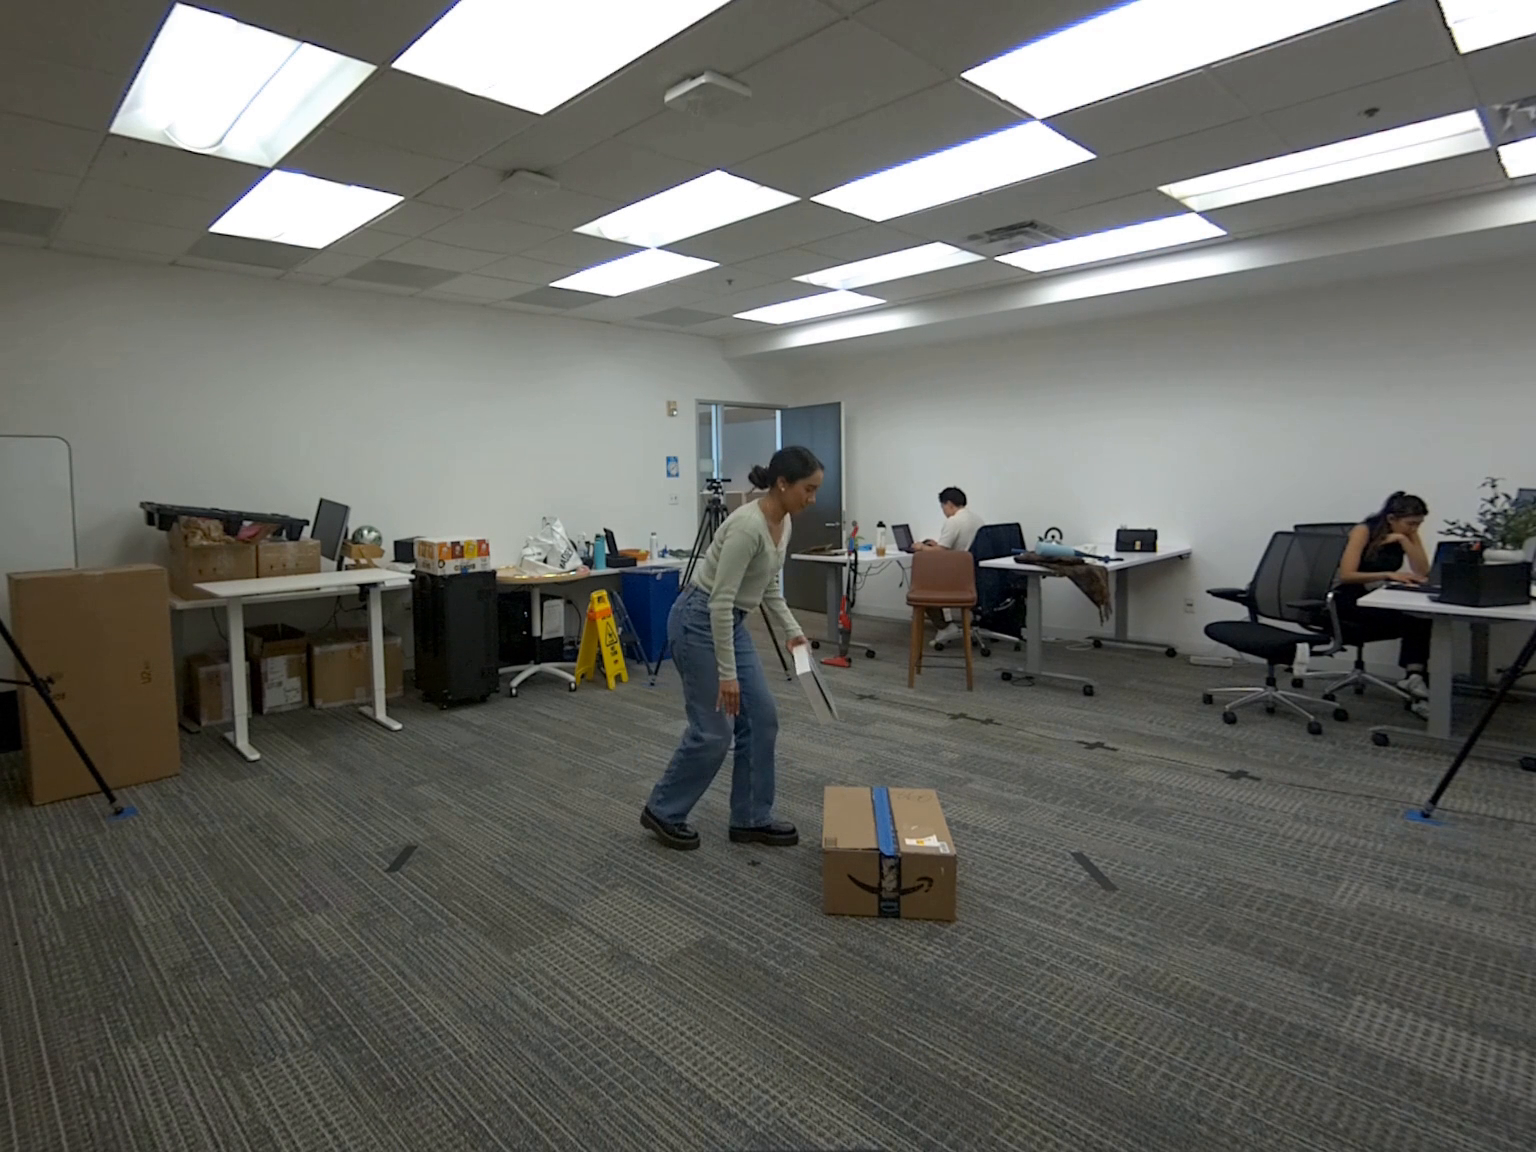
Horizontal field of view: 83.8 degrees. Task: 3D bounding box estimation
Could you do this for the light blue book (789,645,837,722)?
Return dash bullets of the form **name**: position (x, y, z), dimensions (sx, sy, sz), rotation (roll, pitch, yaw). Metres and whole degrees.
- **light blue book**: position (0.177, 0.423, 3.283), dimensions (0.059, 0.254, 0.196), rotation (-24, 24, 8)
